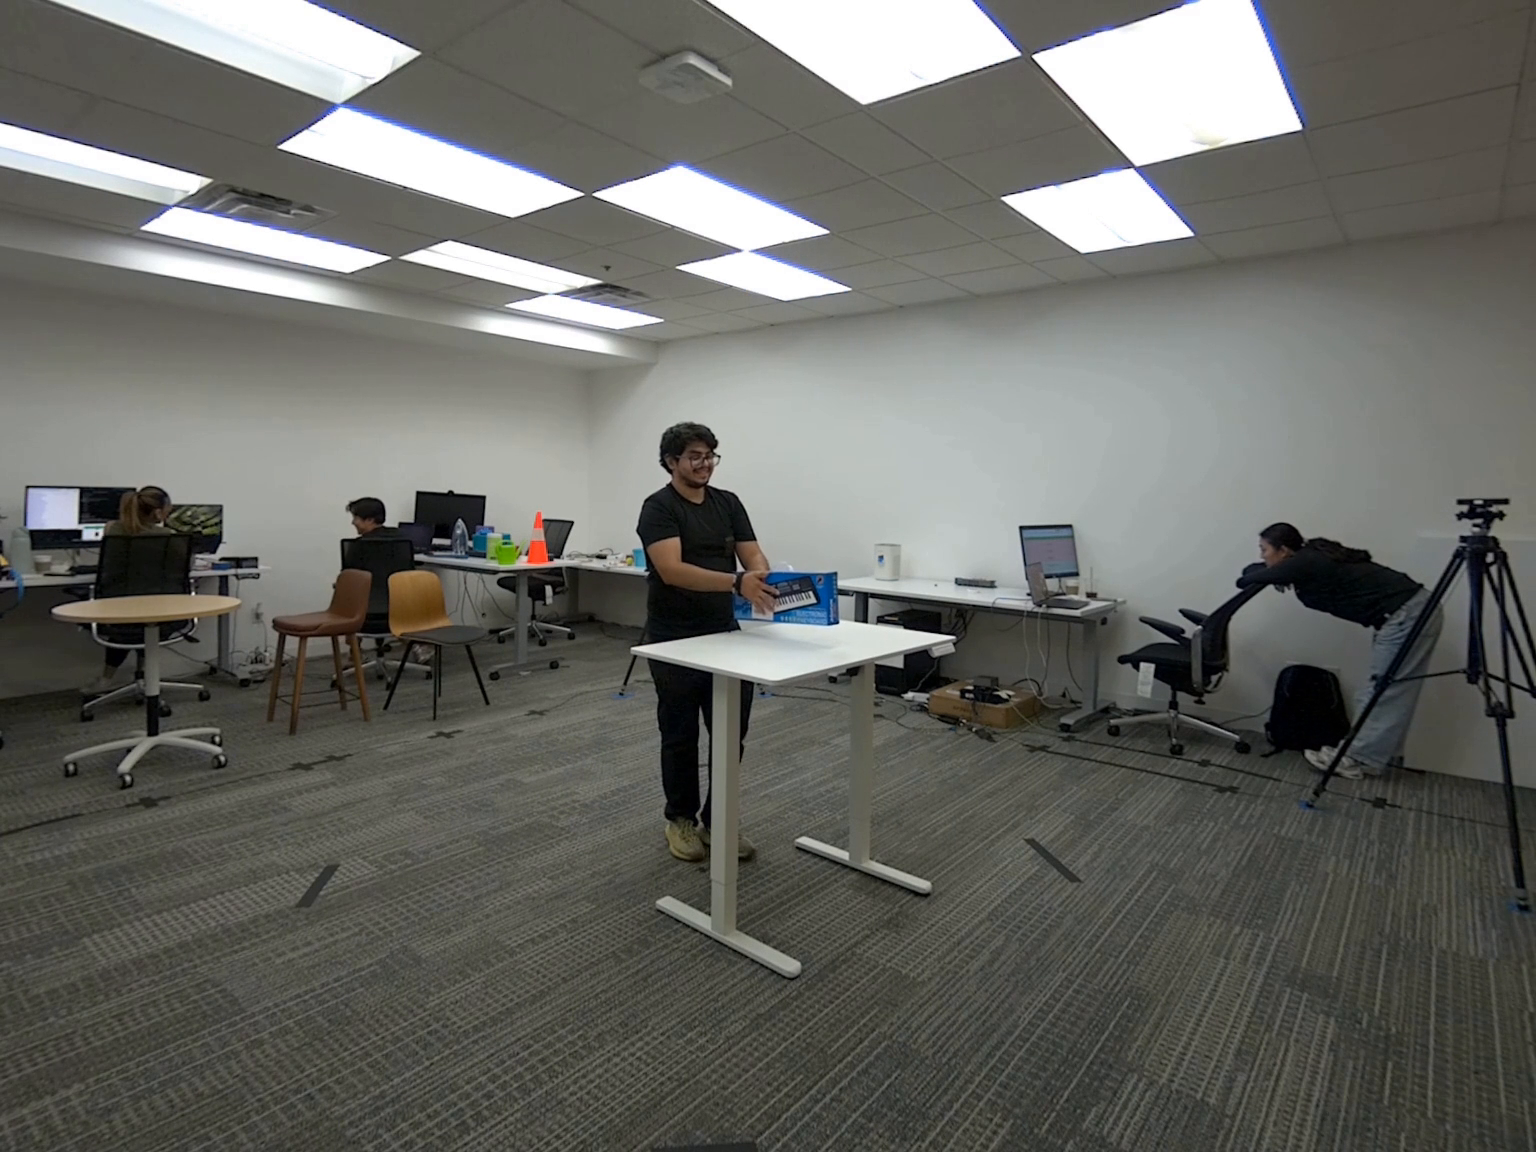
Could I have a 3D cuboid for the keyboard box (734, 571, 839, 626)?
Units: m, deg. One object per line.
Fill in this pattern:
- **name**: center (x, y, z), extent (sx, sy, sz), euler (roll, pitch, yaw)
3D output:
- **keyboard box**: center (0.047, 0.073, 2.890), extent (0.057, 0.176, 0.450), euler (-1, 0, -45)
